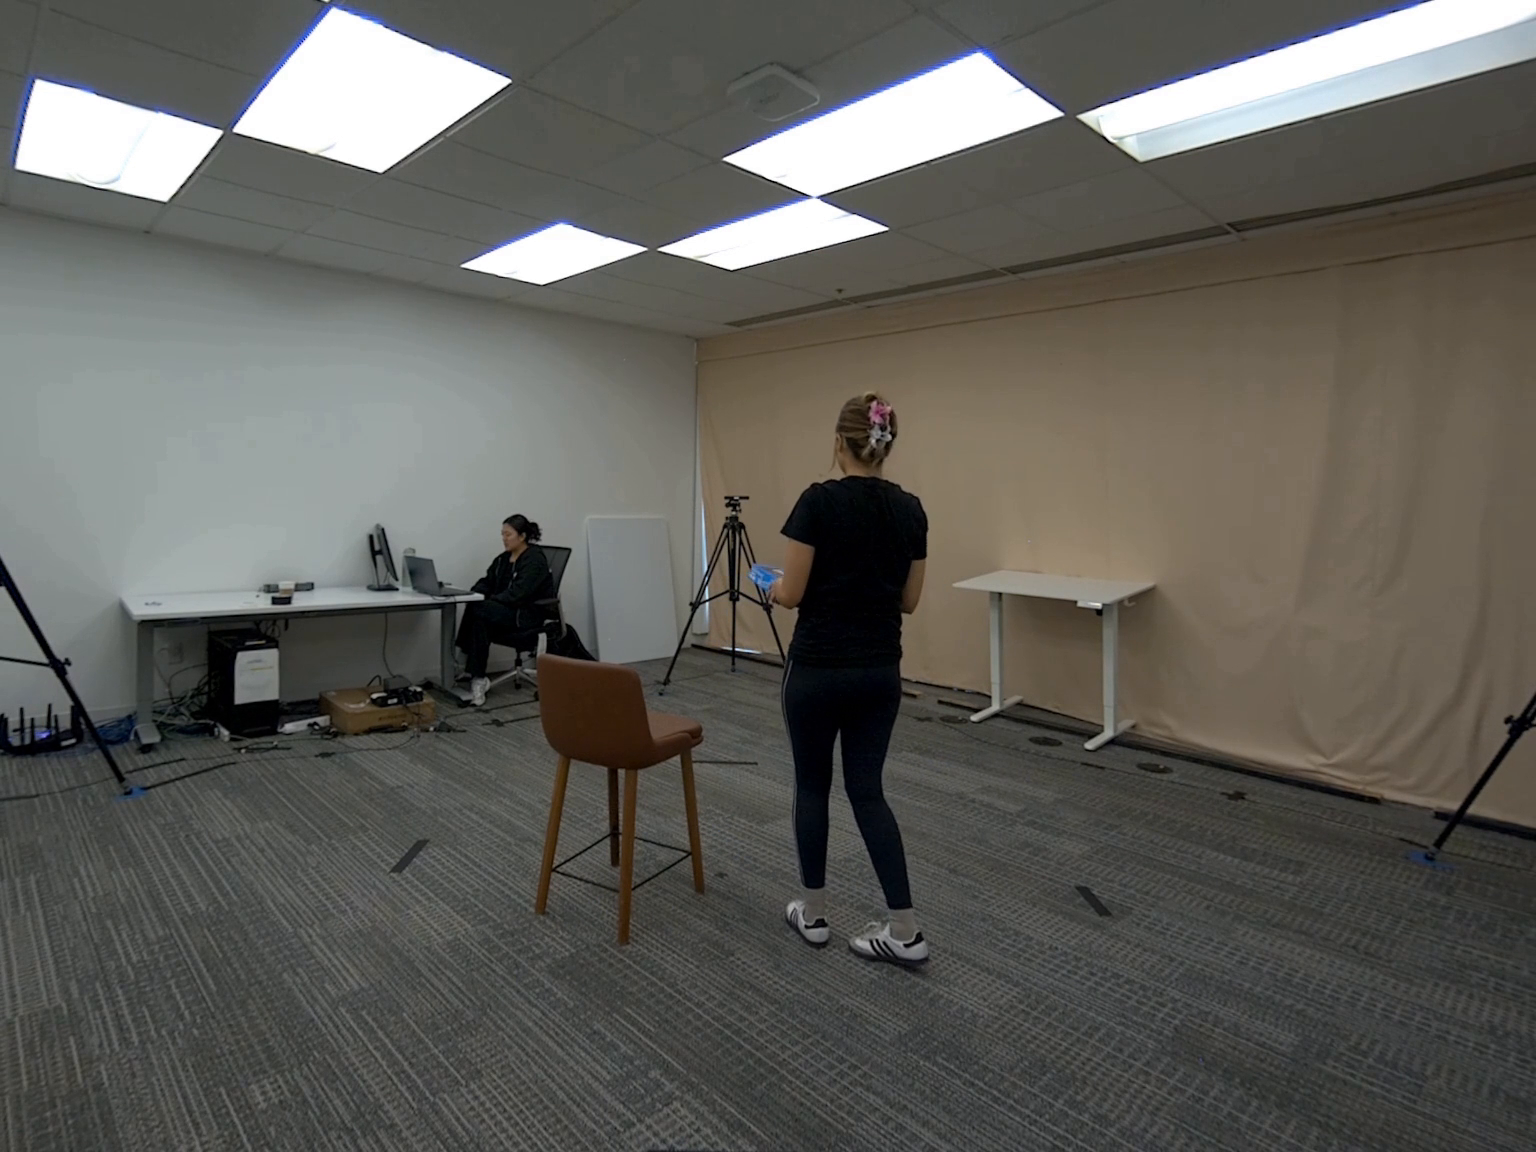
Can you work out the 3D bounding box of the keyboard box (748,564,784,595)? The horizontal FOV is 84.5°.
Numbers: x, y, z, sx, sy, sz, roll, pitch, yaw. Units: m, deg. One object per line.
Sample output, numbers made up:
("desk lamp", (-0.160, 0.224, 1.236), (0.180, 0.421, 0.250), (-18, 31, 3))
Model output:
("keyboard box", (0.067, 0.042, 3.006), (0.173, 0.059, 0.446), (10, 9, -20))
